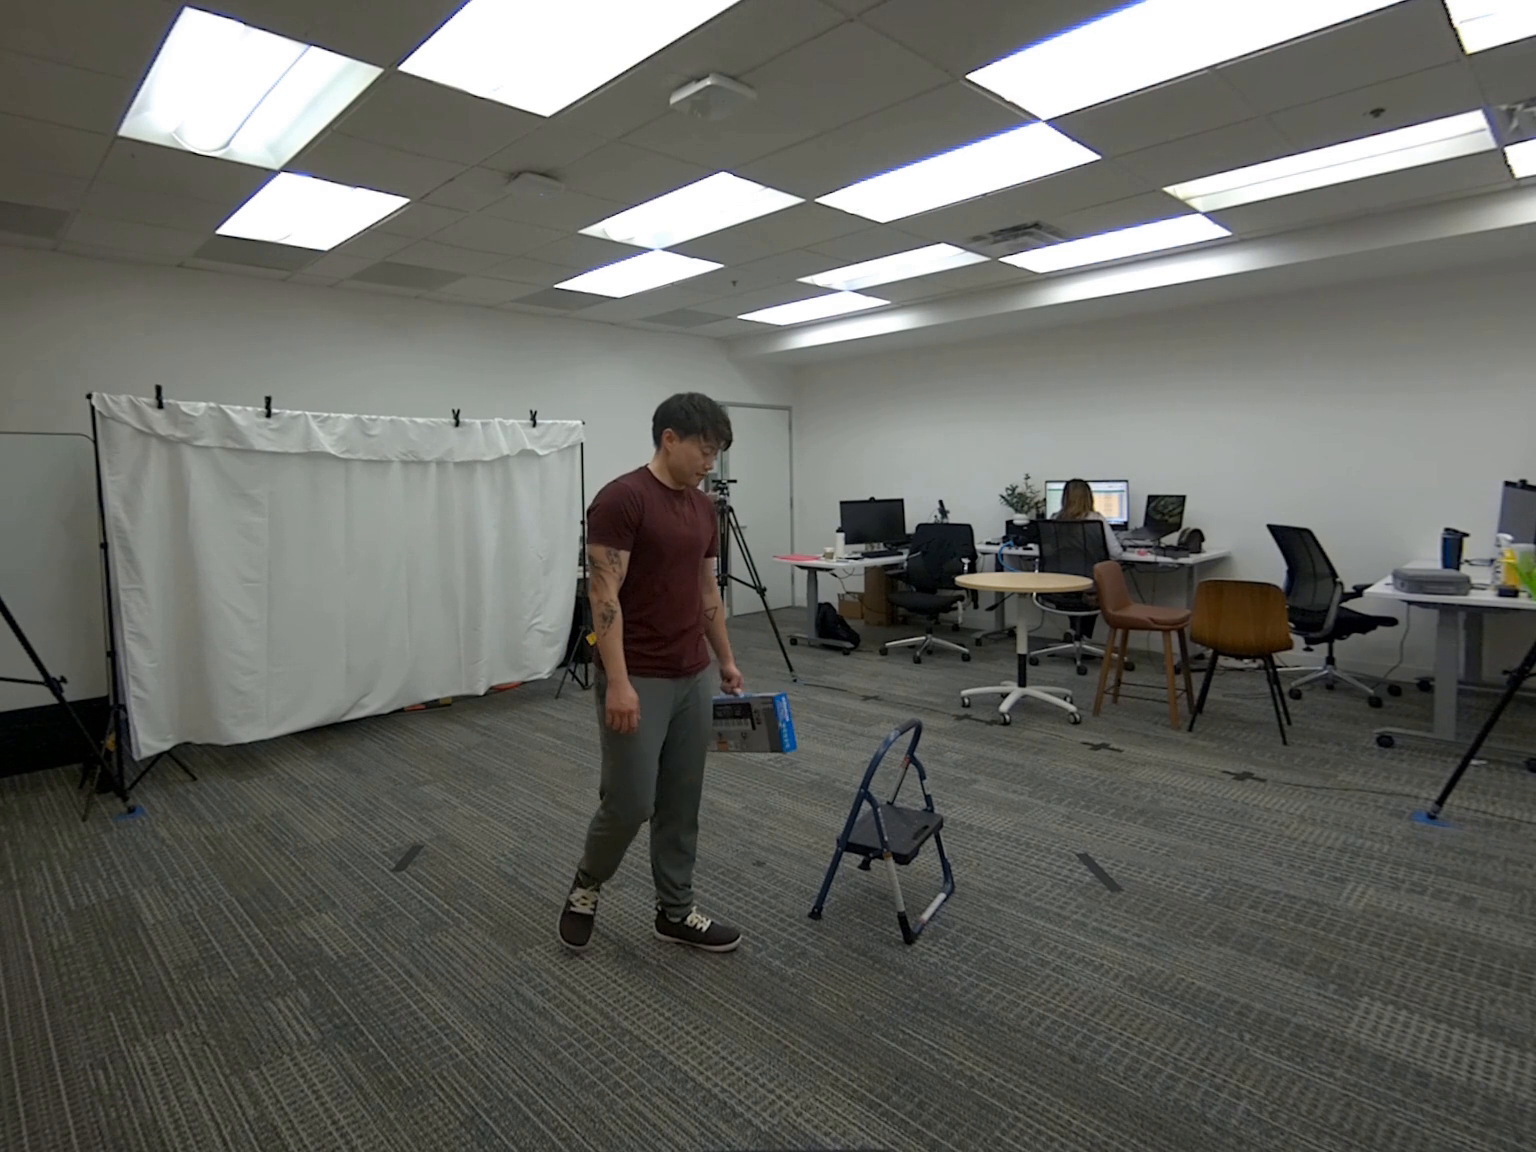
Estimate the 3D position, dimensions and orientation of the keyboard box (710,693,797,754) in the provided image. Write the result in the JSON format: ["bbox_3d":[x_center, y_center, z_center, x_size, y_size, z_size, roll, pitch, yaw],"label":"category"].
[{"bbox_3d":[-0.104,0.468,2.704,0.057,0.176,0.446,-8,-2,-43],"label":"keyboard box"}]
